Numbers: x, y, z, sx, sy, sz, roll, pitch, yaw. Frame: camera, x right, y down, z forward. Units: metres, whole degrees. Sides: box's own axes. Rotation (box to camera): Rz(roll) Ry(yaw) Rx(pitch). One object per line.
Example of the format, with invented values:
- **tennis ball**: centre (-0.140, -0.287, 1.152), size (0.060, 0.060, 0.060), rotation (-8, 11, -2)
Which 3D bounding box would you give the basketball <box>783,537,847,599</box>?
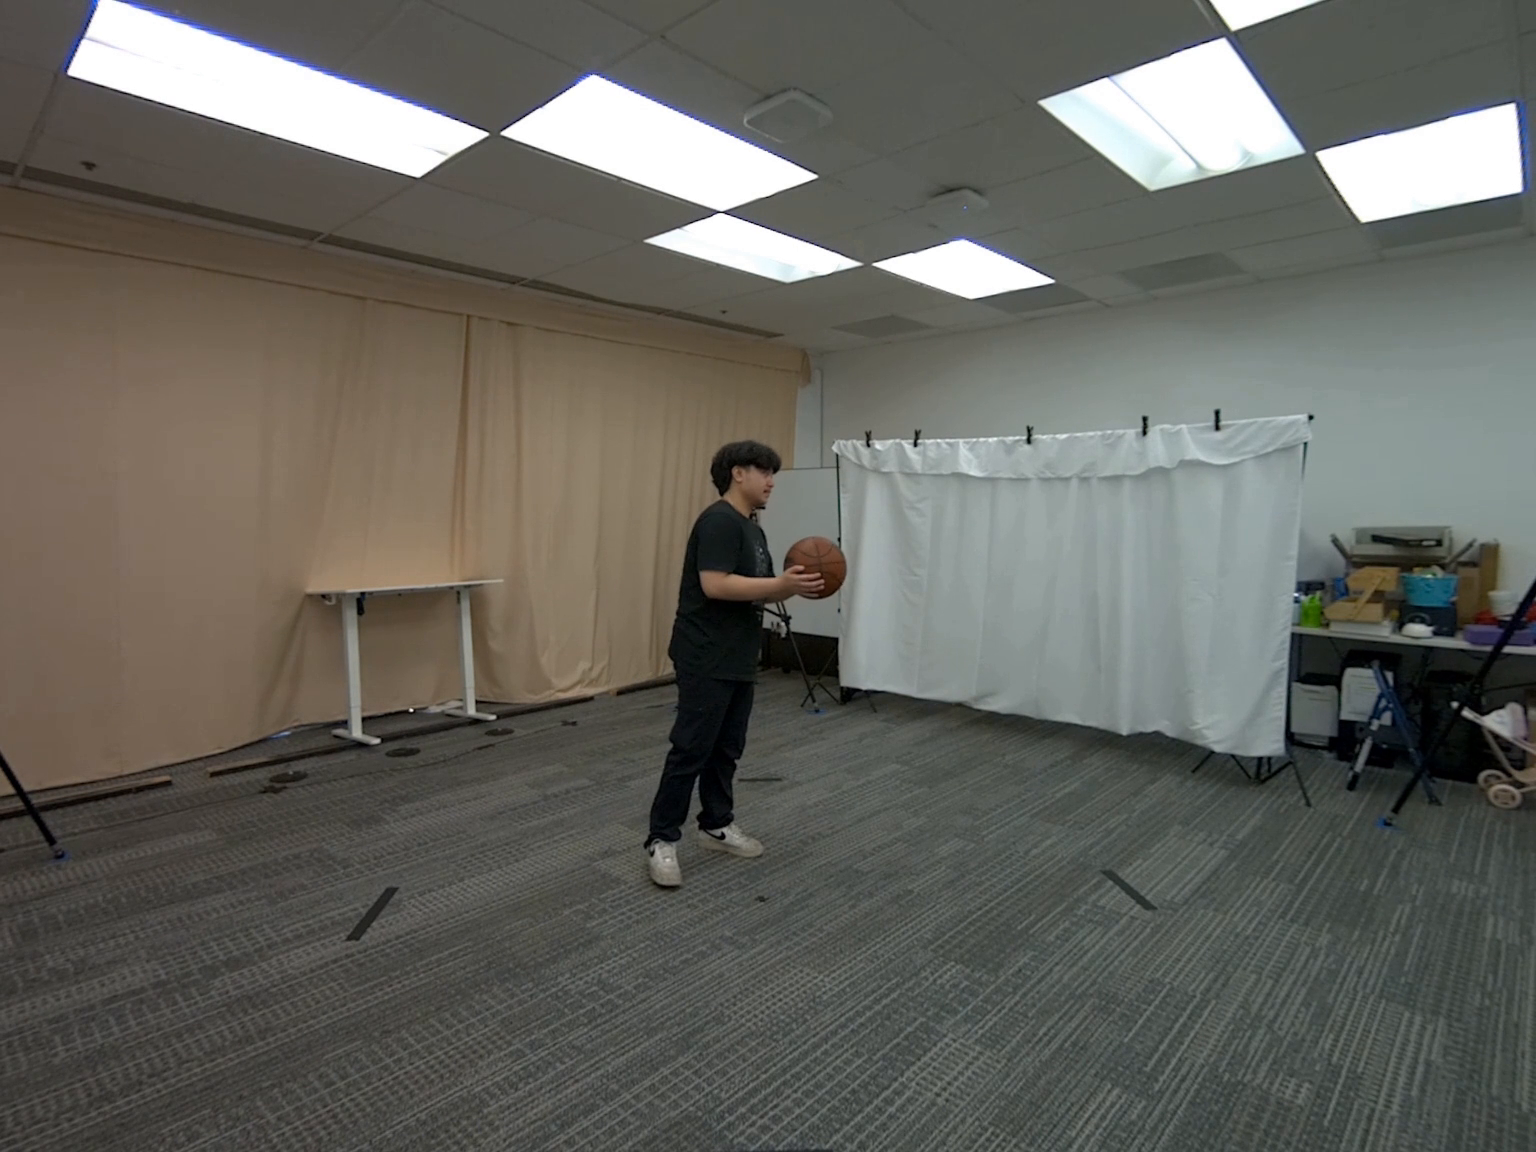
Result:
- **basketball**: centre (0.171, -0.028, 3.162), size (0.236, 0.235, 0.237), rotation (0, 4, -2)
